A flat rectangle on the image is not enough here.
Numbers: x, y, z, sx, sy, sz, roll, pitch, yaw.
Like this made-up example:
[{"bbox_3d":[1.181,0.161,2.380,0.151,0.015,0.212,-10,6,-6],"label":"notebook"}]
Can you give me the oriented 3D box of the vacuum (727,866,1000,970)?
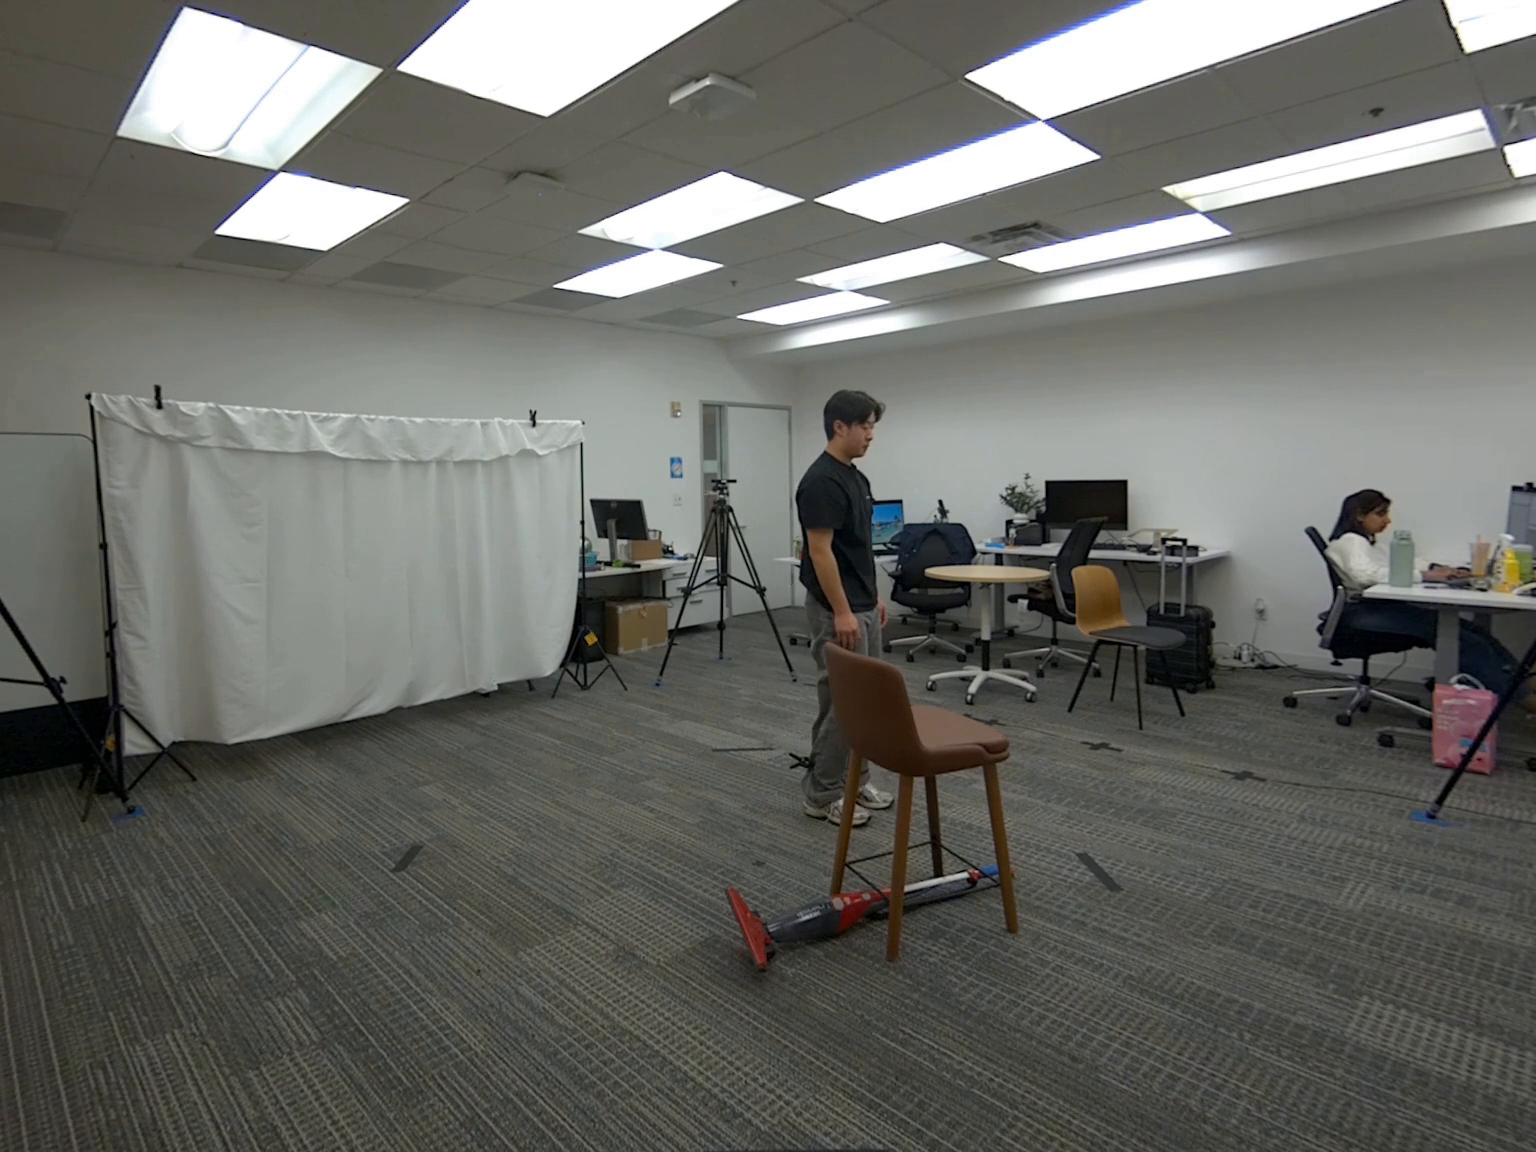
[{"bbox_3d":[0.393,1.042,2.716,1.024,0.142,0.262,1,39,-28],"label":"vacuum"}]
